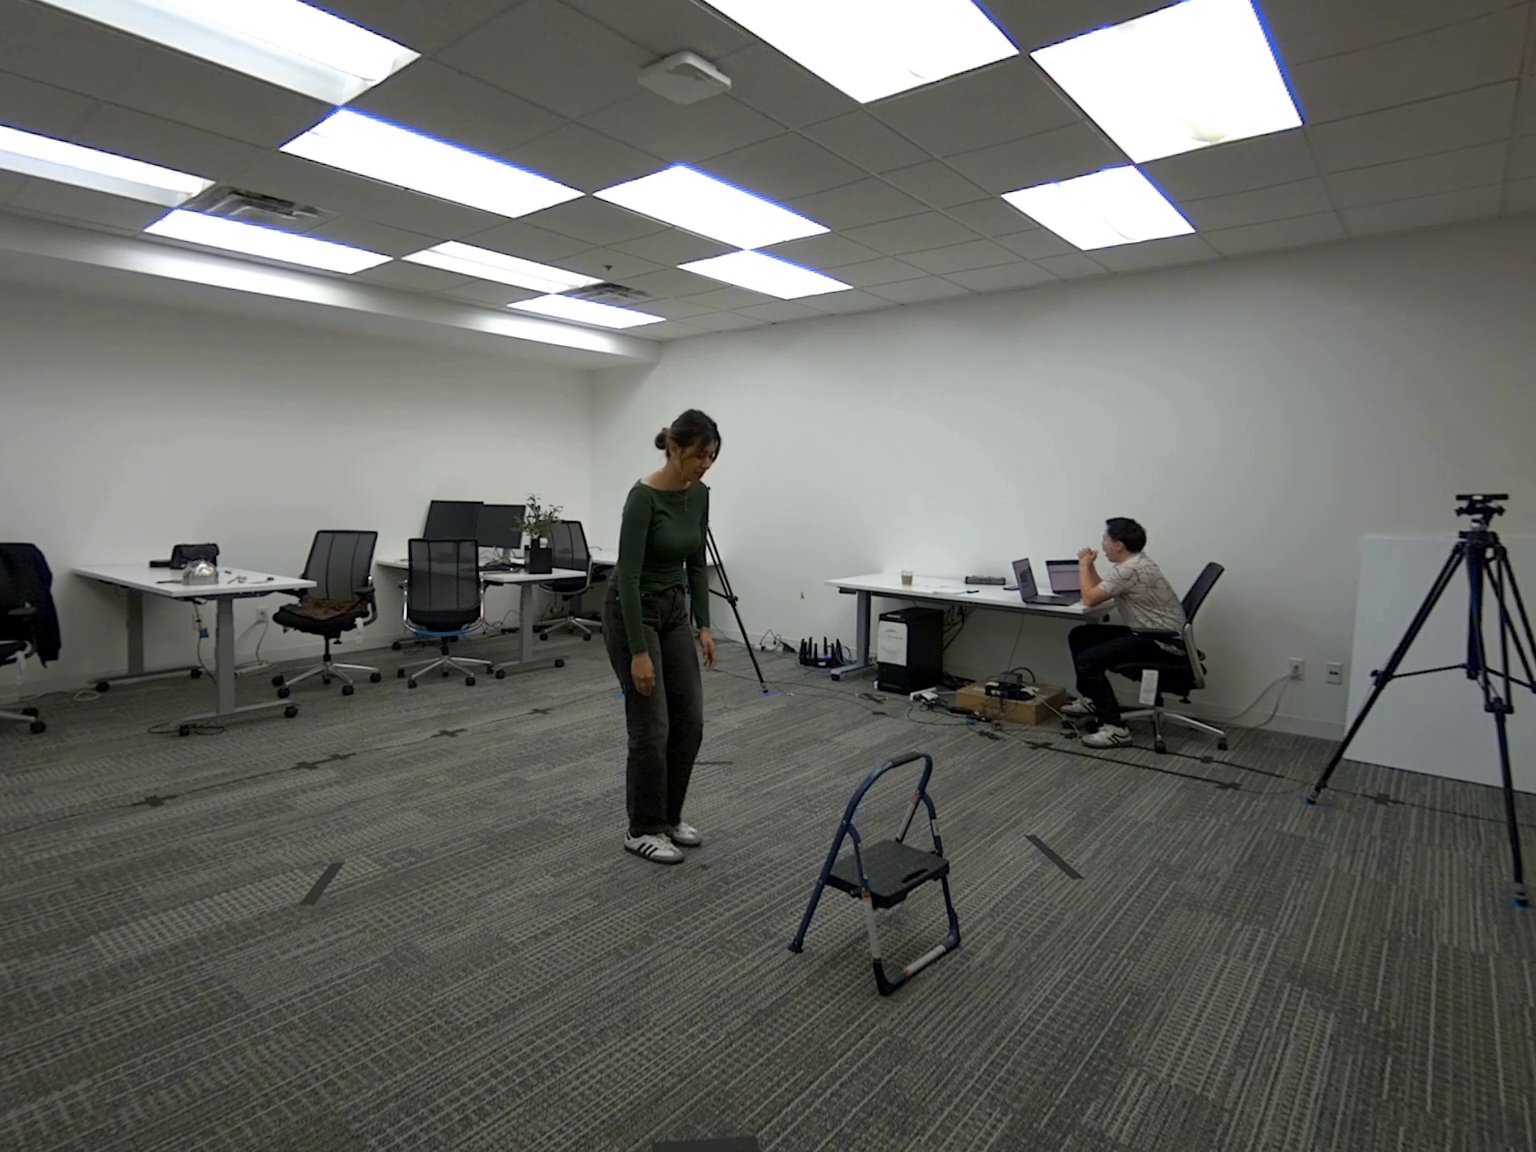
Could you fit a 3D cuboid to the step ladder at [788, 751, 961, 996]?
[{"bbox_3d":[0.328,0.824,2.580,0.361,0.604,0.418,5,6,43],"label":"step ladder"}]
